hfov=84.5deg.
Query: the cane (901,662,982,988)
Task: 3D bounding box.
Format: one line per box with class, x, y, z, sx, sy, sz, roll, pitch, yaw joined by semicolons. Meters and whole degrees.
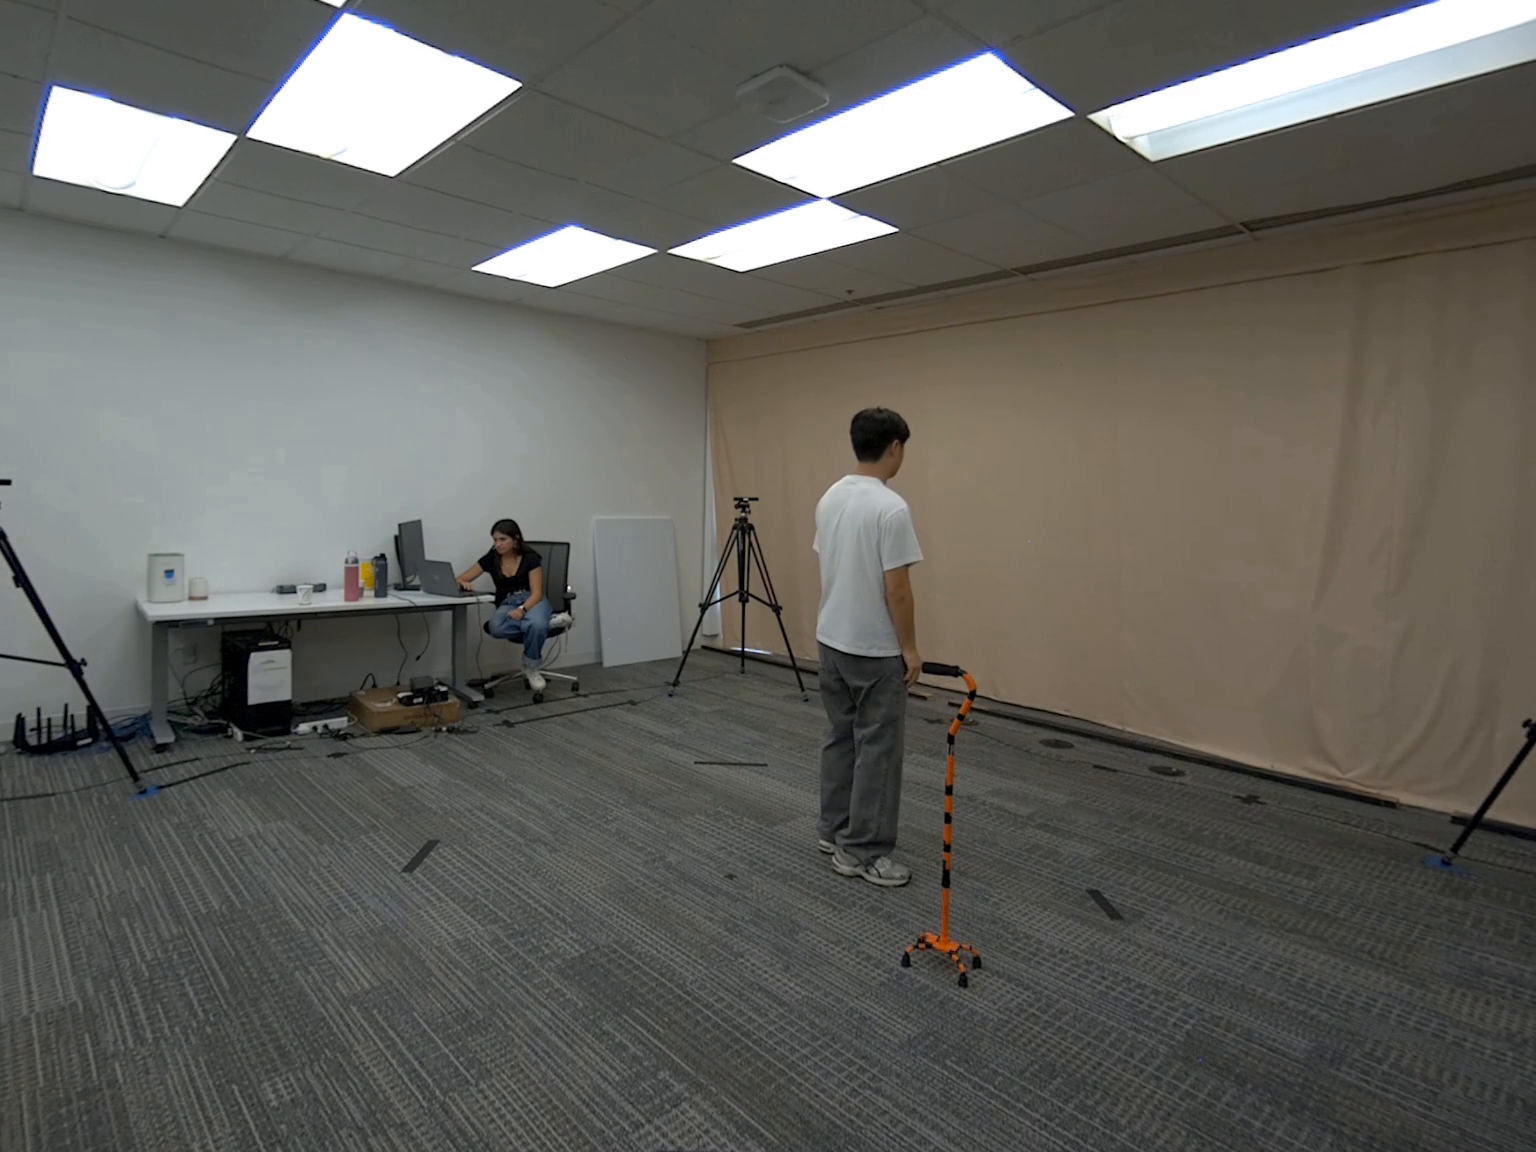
cane;0.529;0.730;2.504;0.211;0.906;0.148;4;4;33
